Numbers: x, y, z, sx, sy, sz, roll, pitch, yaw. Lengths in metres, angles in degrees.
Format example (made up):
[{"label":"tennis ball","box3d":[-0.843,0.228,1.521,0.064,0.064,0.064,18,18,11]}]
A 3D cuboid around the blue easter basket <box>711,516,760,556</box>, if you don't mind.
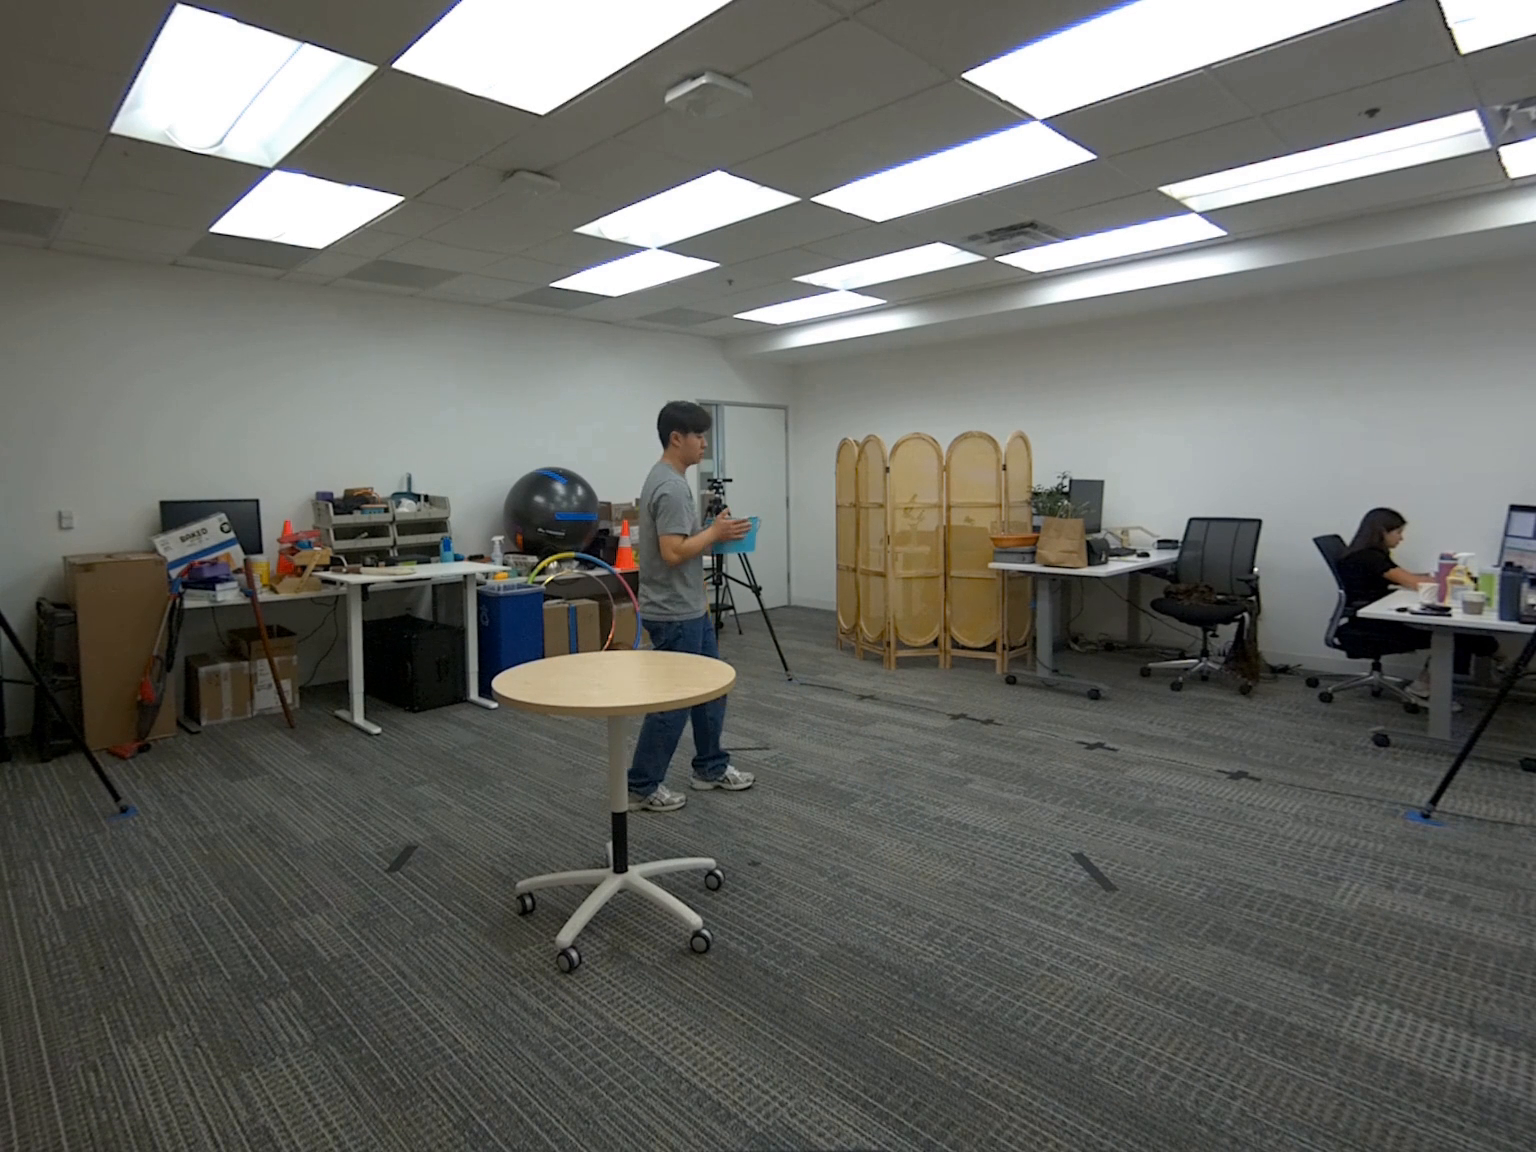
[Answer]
[{"label":"blue easter basket","box3d":[-0.165,-0.180,3.693,0.243,0.155,0.245,-2,5,-2]}]
